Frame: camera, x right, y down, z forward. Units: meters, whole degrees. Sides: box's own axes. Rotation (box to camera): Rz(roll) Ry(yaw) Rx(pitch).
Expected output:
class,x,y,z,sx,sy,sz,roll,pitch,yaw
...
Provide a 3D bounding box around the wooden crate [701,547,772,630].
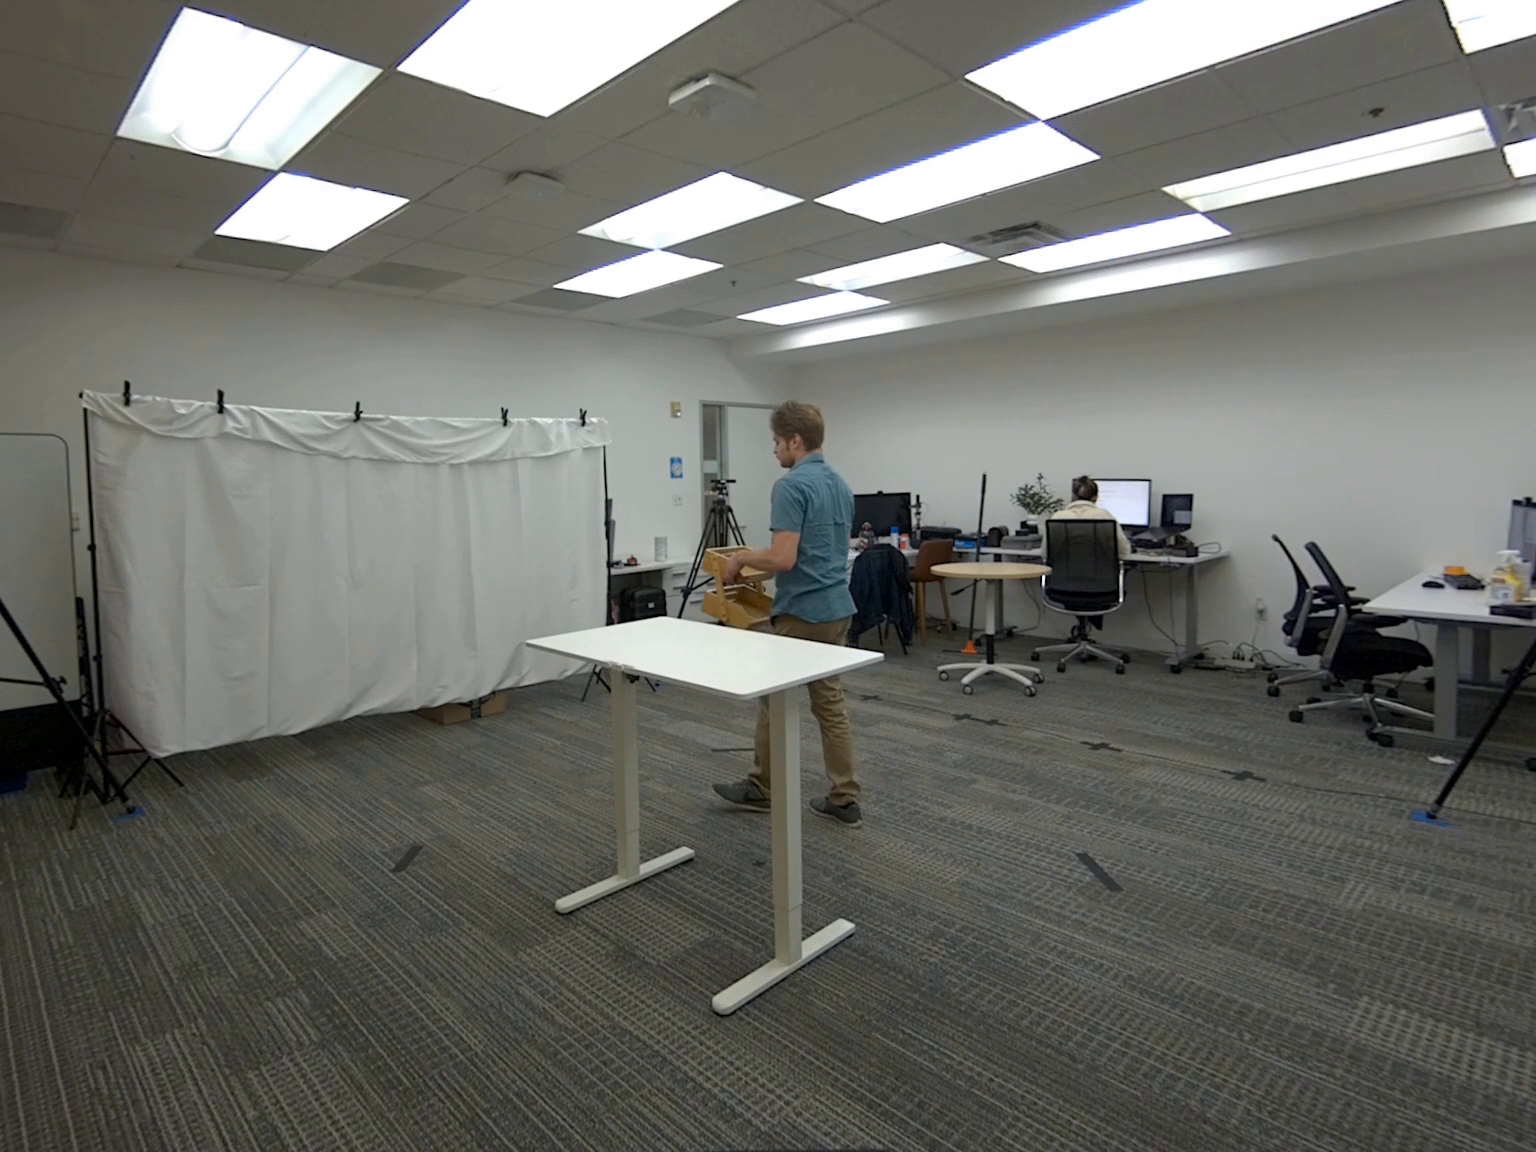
class,x,y,z,sx,sy,sz,roll,pitch,yaw
wooden crate,-0.096,0.045,3.676,0.311,0.271,0.317,21,14,28
